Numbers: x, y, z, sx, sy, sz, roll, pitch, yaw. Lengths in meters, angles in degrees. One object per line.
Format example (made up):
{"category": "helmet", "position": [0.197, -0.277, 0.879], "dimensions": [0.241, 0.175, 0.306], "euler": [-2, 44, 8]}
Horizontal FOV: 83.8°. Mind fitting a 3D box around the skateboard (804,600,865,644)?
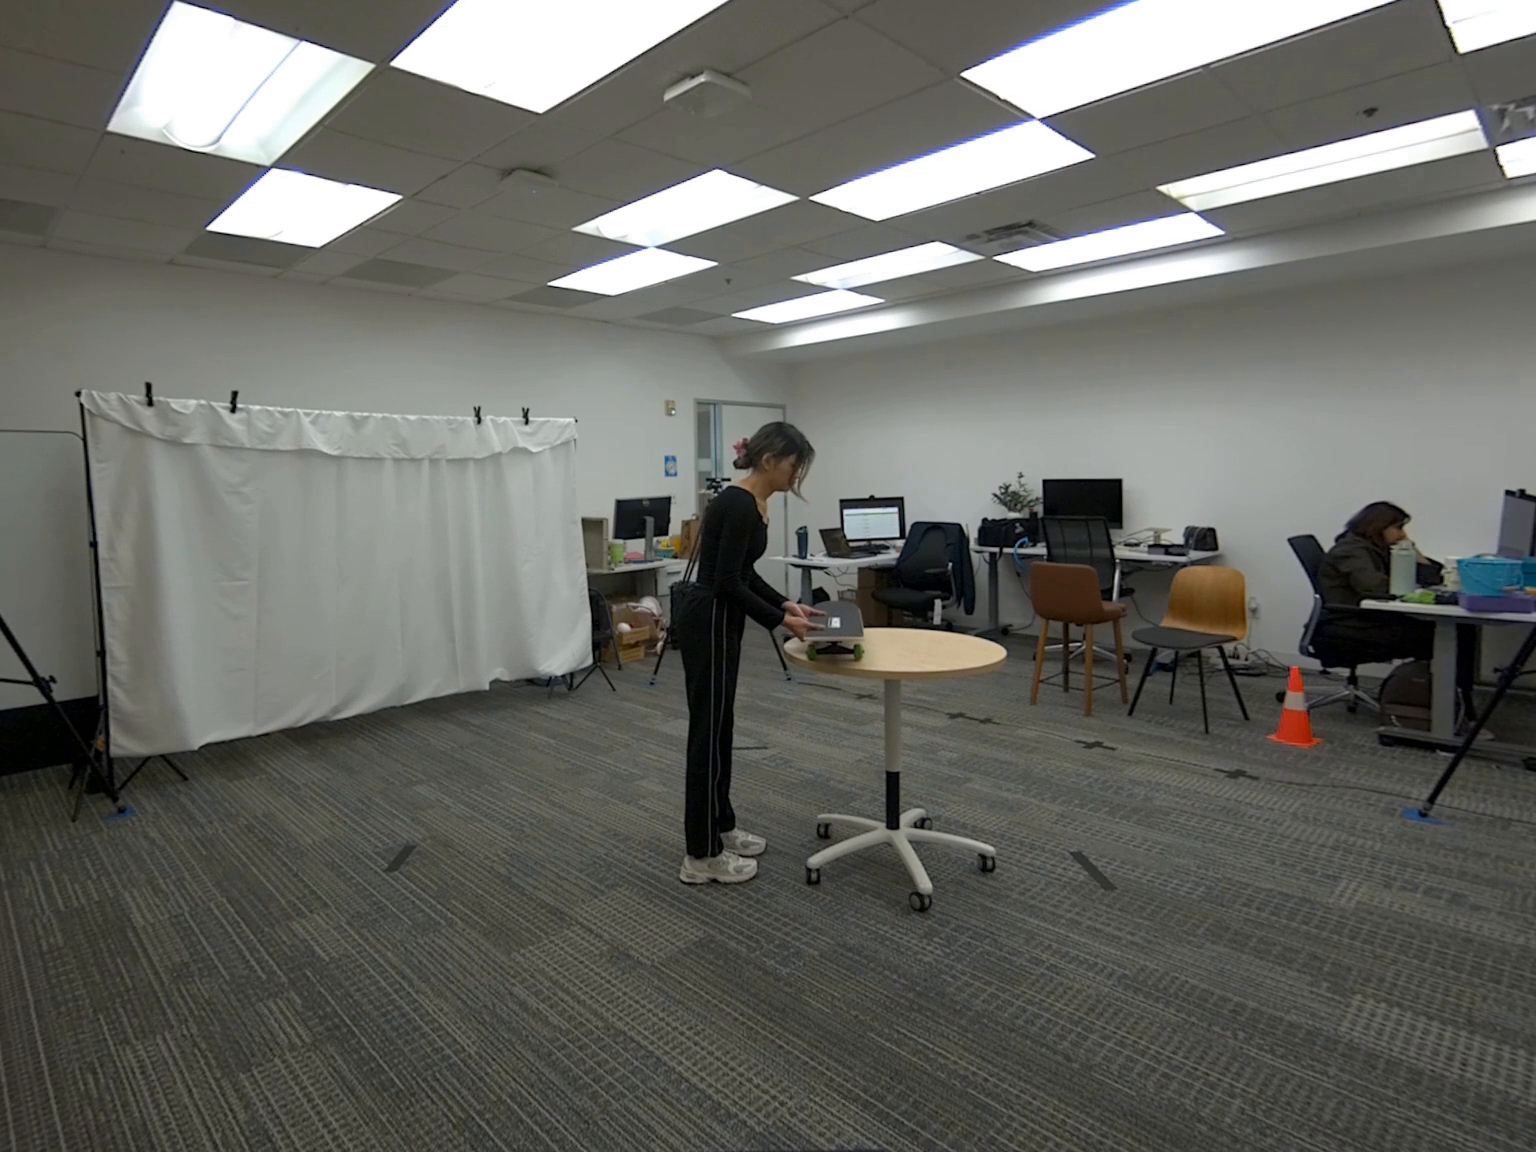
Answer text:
{"category": "skateboard", "position": [0.216, 0.195, 3.029], "dimensions": [0.194, 0.110, 0.786], "euler": [-2, 7, 3]}
